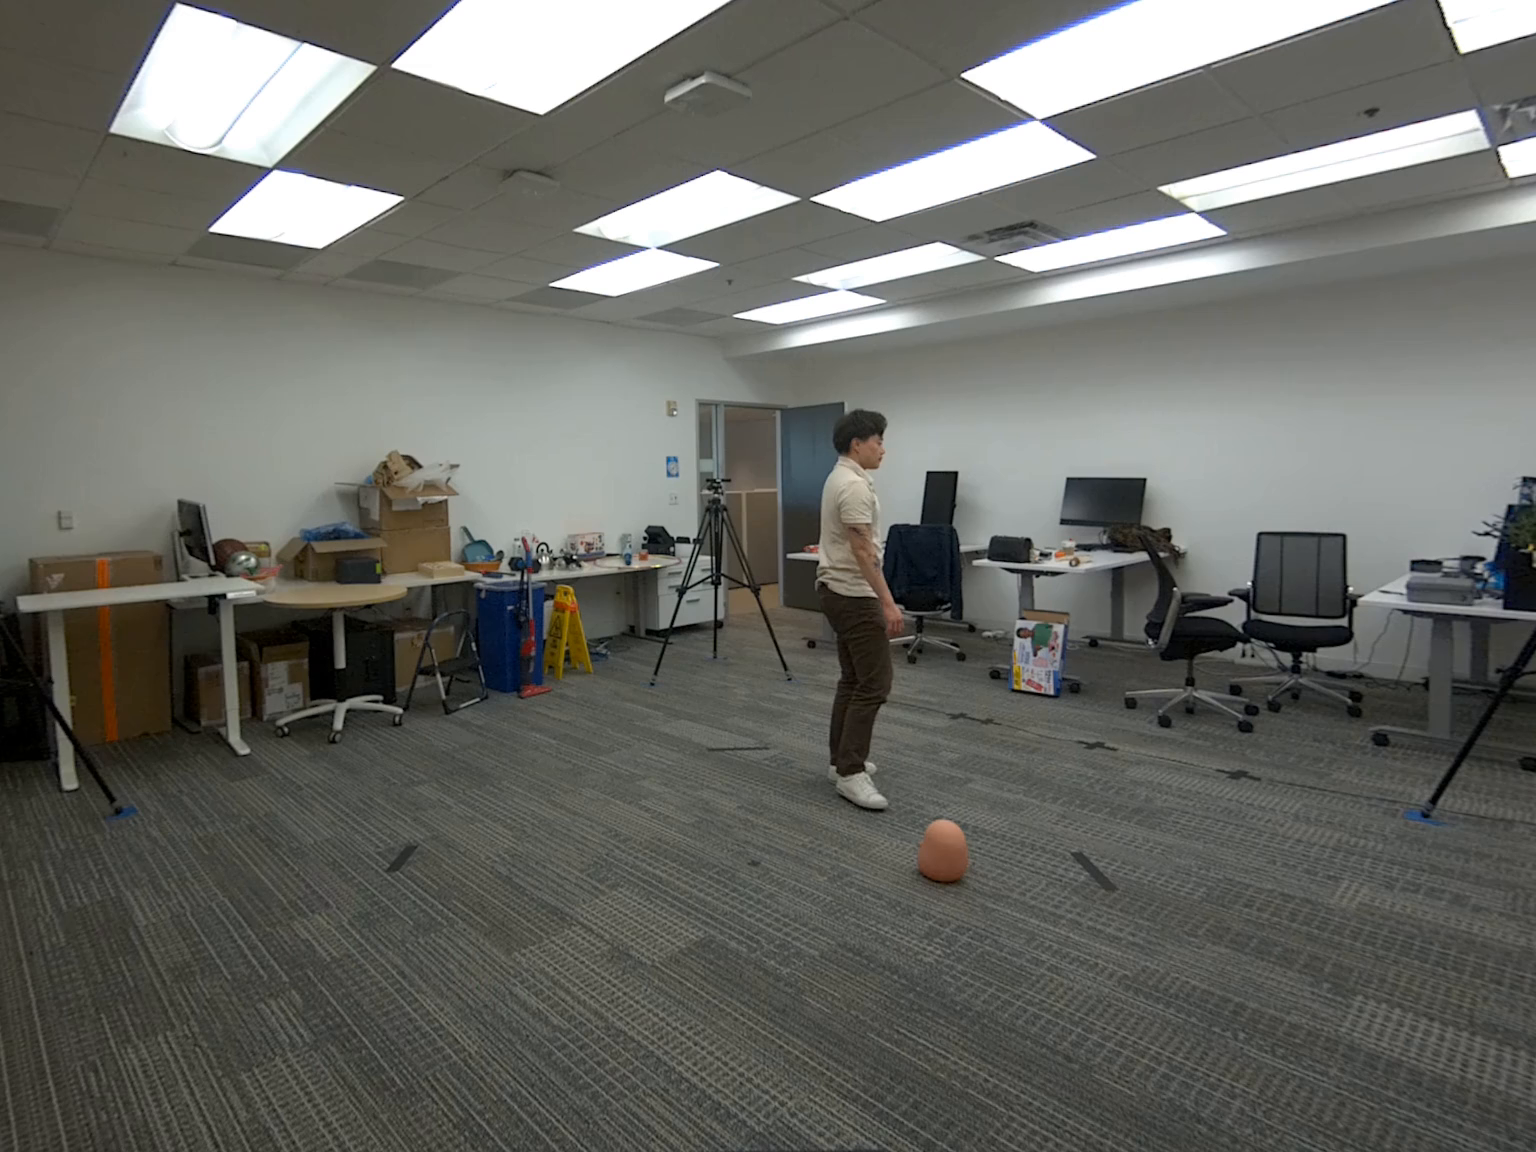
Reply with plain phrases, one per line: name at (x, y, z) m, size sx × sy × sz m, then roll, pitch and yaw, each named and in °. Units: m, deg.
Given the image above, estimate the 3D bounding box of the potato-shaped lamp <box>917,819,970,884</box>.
potato-shaped lamp at (0.610, 0.949, 2.971) m, size 0.161 × 0.197 × 0.176 m, roll -6°, pitch 5°, yaw -28°
